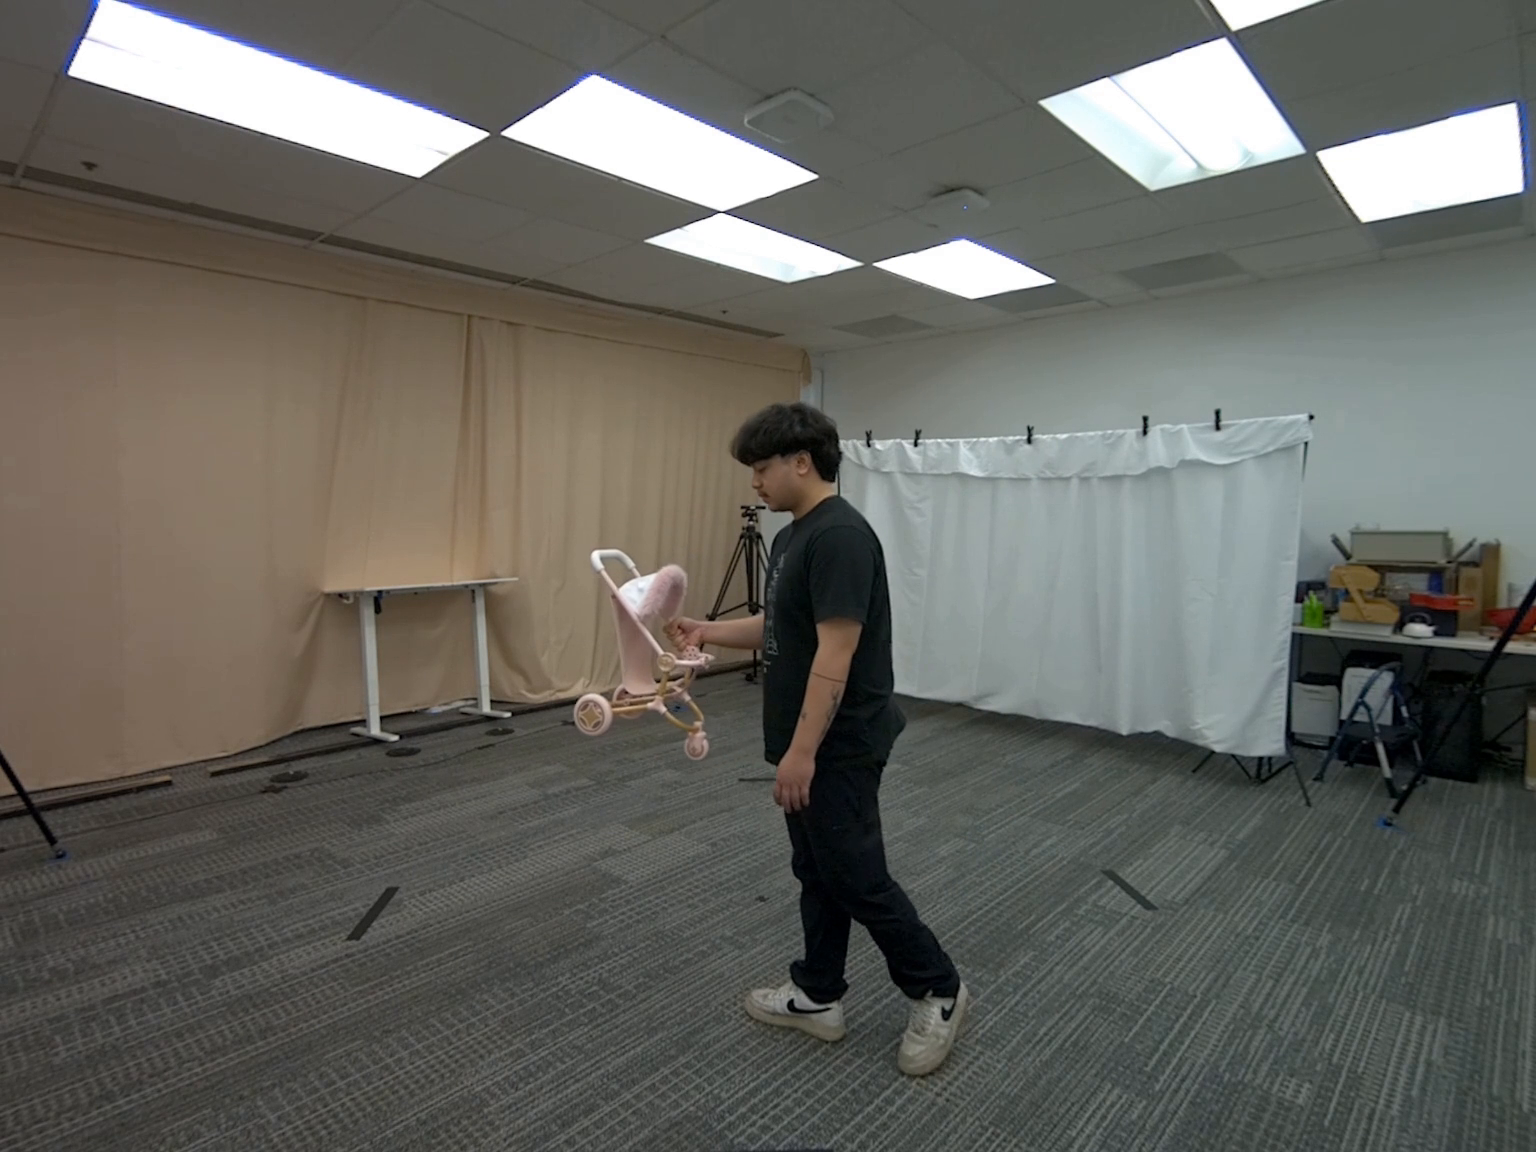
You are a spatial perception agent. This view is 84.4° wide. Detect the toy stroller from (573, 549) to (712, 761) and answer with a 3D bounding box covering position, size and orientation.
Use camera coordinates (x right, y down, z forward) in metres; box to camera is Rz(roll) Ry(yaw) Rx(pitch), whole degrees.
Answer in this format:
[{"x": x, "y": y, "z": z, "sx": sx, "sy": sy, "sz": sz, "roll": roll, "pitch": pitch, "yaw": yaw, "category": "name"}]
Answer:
[{"x": -0.297, "y": 0.209, "z": 2.221, "sx": 0.349, "sy": 0.535, "sz": 0.275, "roll": 2, "pitch": -1, "yaw": 21, "category": "toy stroller"}]
